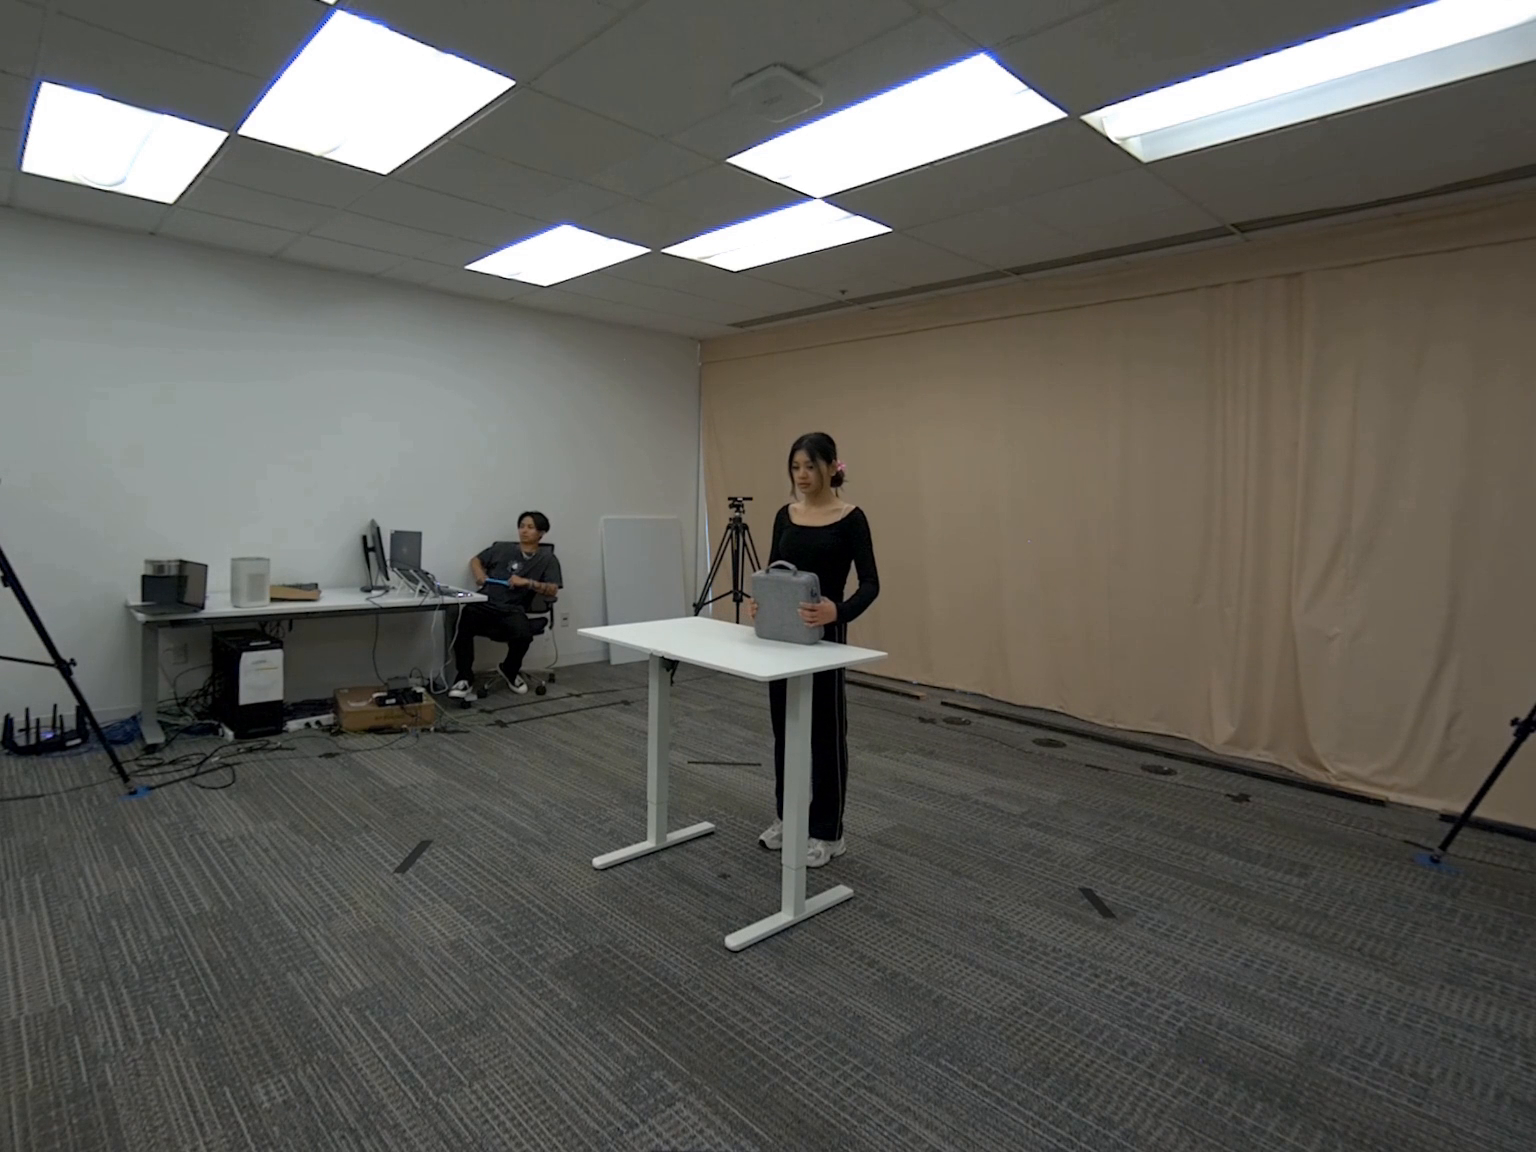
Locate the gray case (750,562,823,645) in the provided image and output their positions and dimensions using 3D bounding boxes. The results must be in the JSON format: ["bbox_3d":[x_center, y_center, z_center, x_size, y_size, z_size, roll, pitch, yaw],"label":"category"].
[{"bbox_3d":[0.057,0.107,3.021,0.263,0.258,0.103,5,17,38],"label":"gray case"}]
